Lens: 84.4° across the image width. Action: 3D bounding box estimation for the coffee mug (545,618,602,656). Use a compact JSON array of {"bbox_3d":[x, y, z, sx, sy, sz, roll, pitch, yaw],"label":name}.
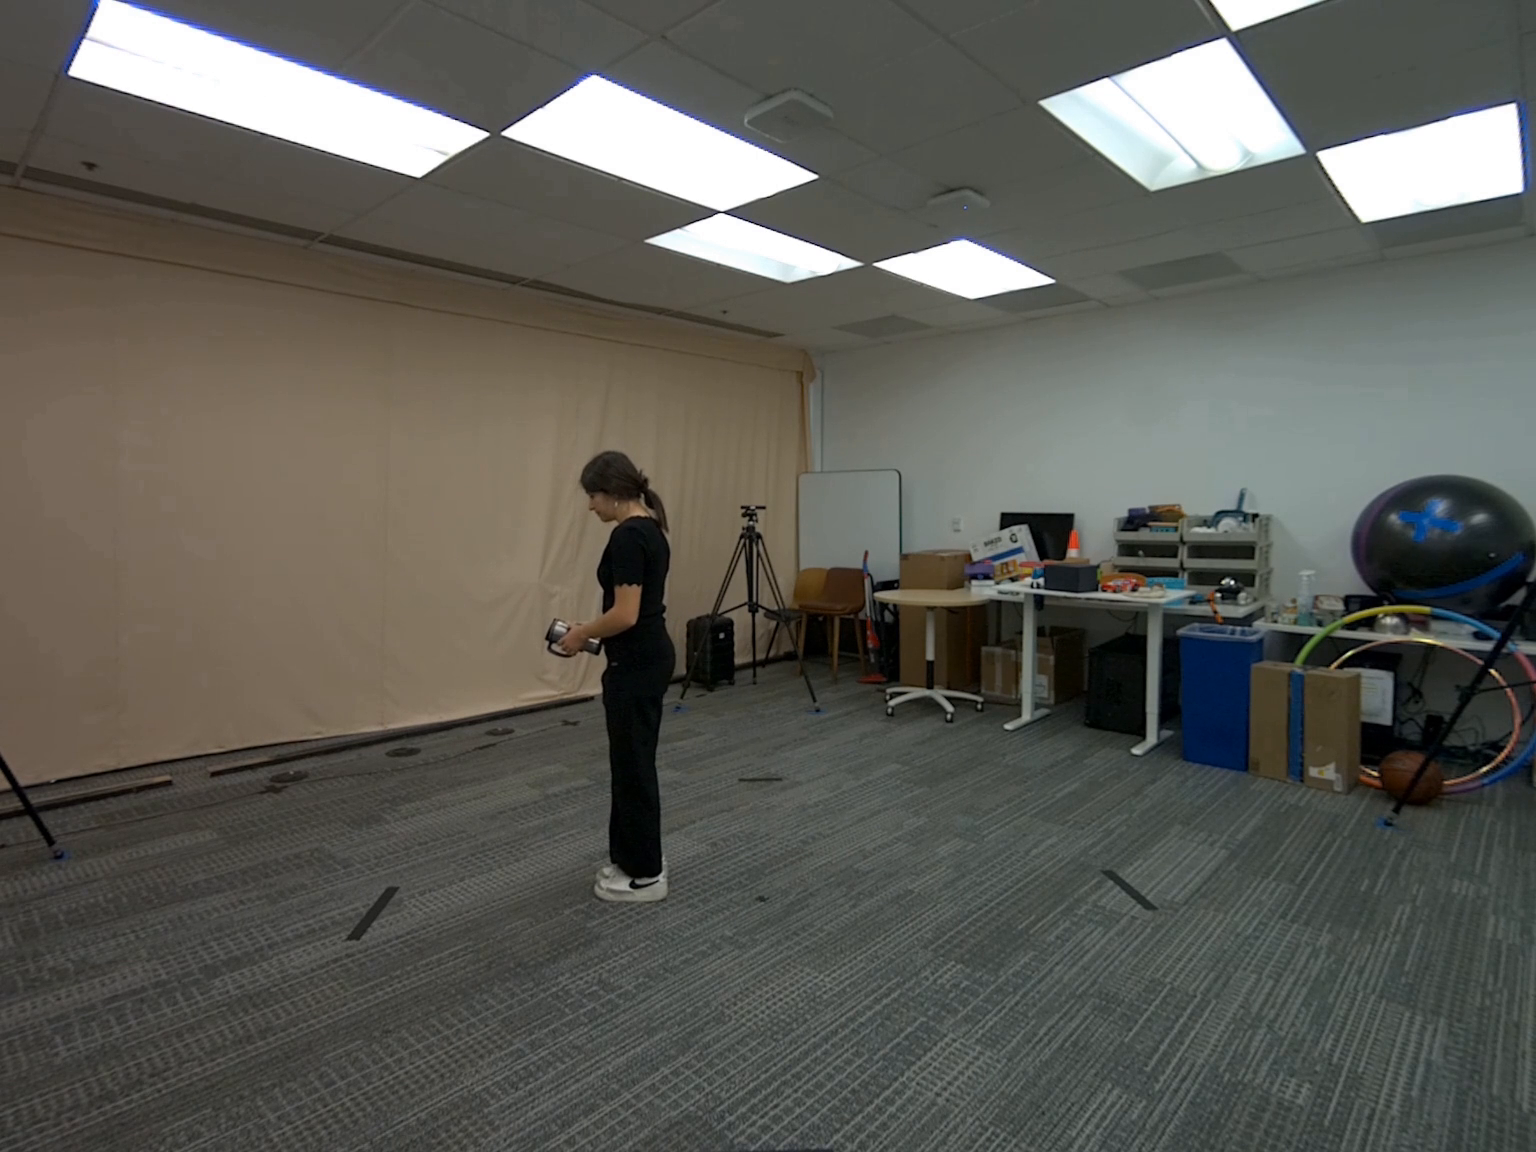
[{"bbox_3d":[-0.702,0.242,3.064,0.202,0.123,0.088,18,-32,-5],"label":"coffee mug"}]
